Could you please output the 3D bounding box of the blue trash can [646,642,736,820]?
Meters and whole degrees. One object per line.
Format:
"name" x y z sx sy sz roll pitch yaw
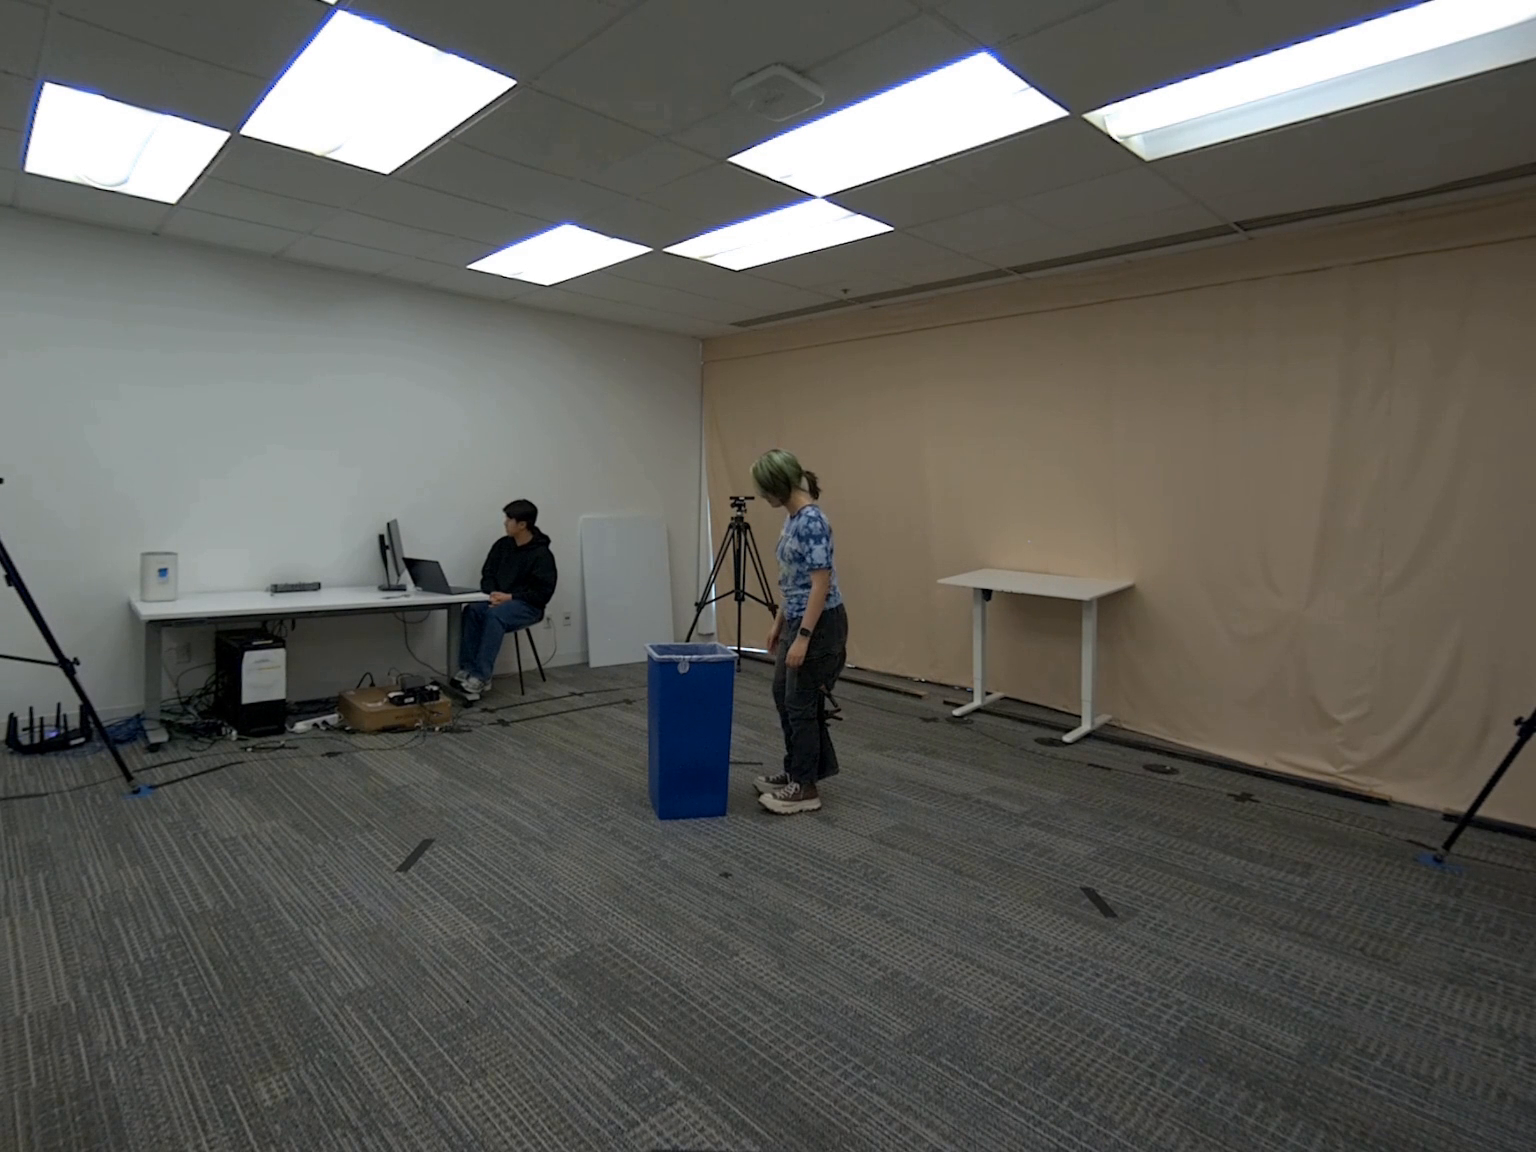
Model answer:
"blue trash can" -0.371 0.684 3.786 0.373 0.712 0.379 1 3 -16
